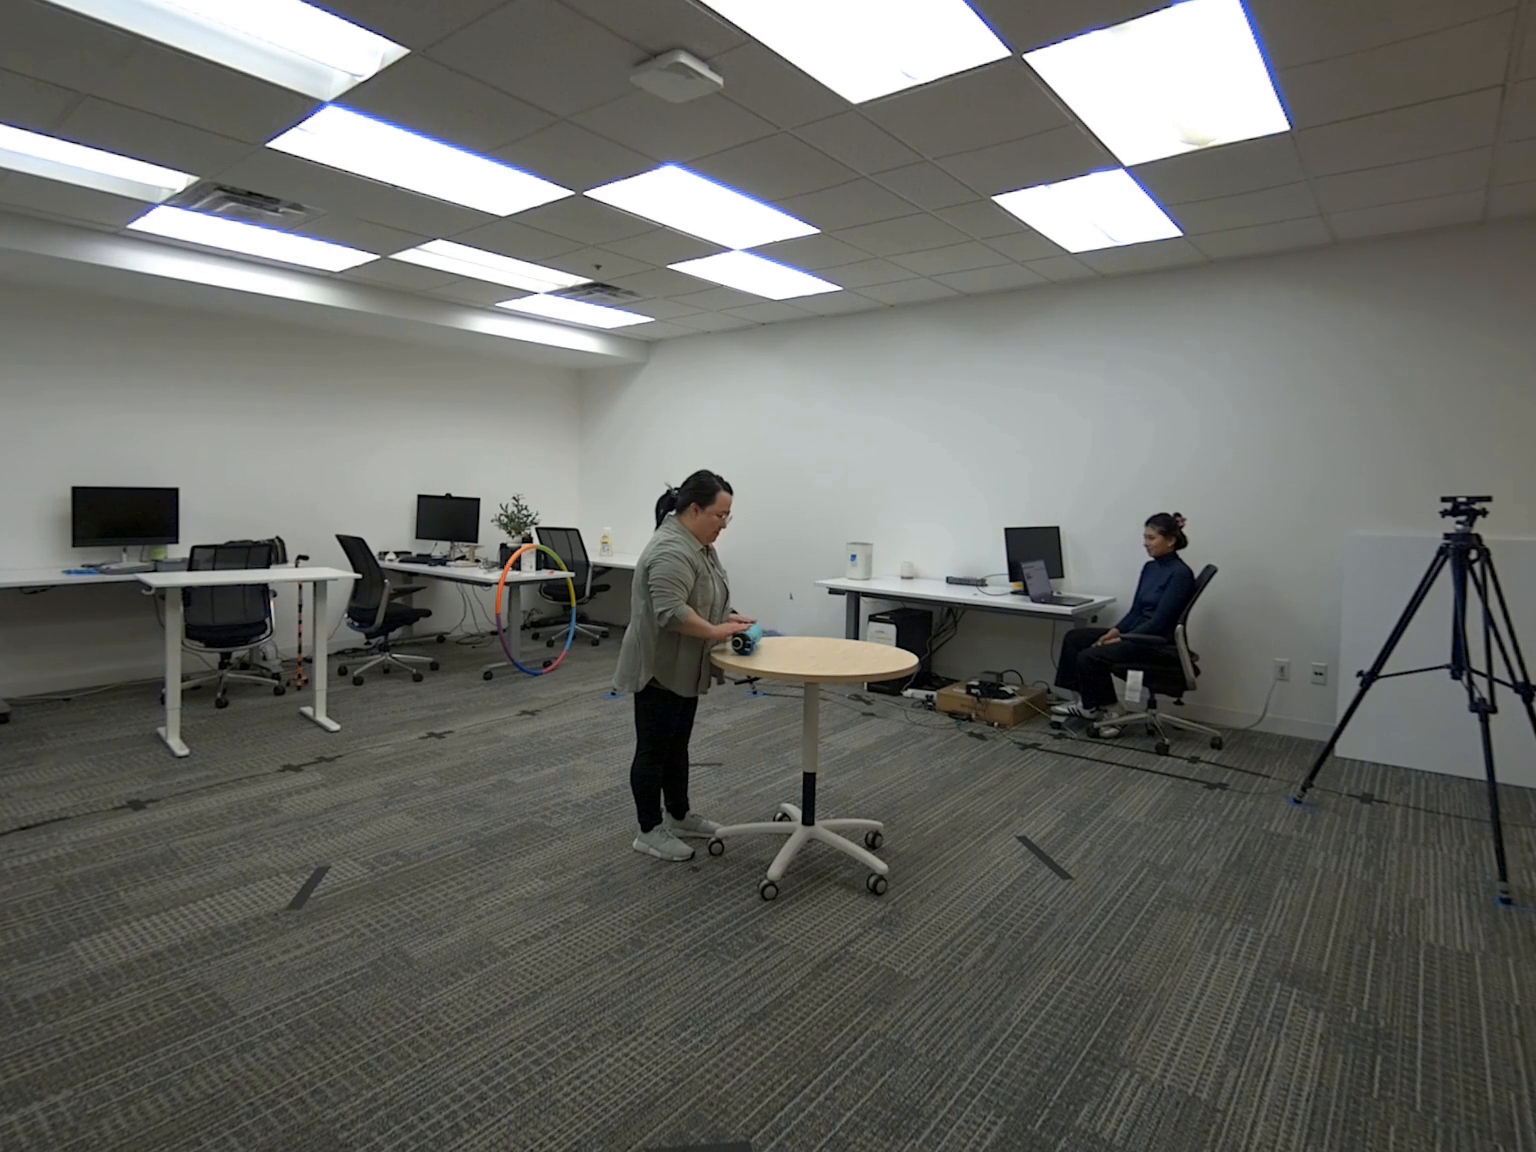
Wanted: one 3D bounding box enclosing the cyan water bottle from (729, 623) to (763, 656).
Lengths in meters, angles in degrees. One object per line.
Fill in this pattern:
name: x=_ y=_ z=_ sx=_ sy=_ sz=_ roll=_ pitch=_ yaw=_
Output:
cyan water bottle: x=-0.087 y=0.237 z=3.204 sx=0.093 sy=0.092 sz=0.281 roll=1 pitch=3 yaw=6
